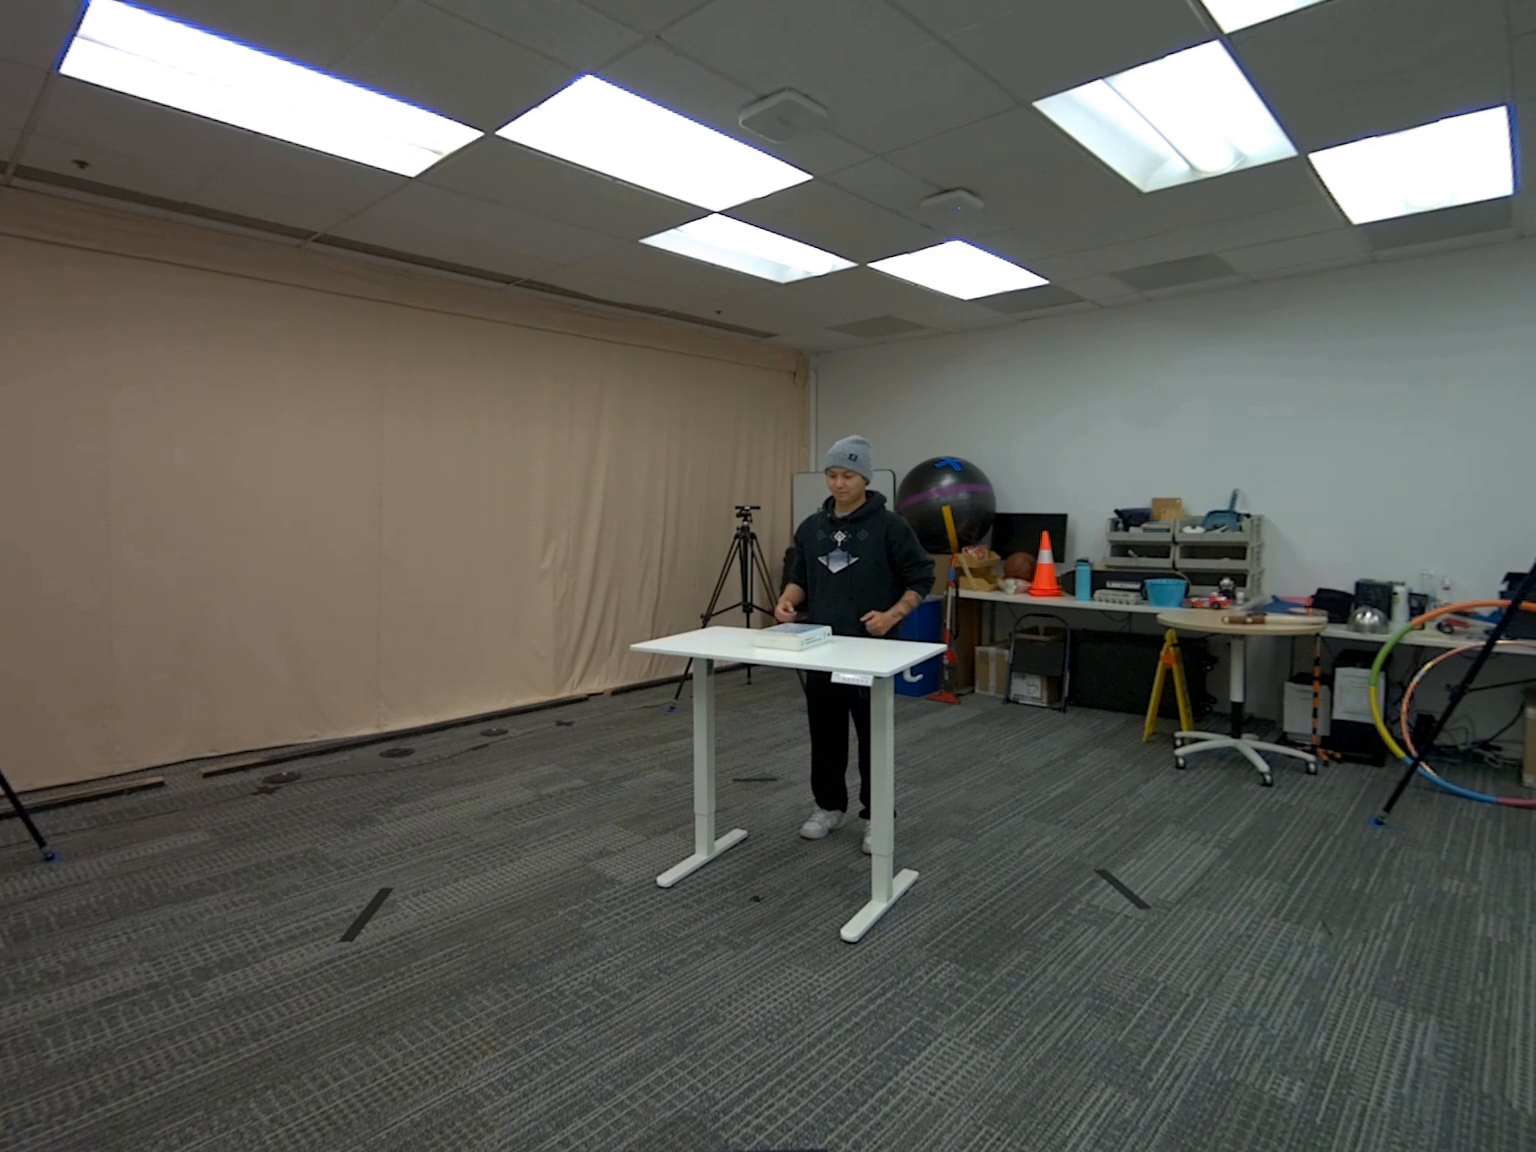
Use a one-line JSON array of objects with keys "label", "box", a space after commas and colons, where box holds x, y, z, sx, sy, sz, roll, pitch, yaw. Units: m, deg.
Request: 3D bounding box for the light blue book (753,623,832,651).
[{"label": "light blue book", "box": [0.095, 0.225, 3.105, 0.197, 0.059, 0.254, 3, 6, 31]}]
